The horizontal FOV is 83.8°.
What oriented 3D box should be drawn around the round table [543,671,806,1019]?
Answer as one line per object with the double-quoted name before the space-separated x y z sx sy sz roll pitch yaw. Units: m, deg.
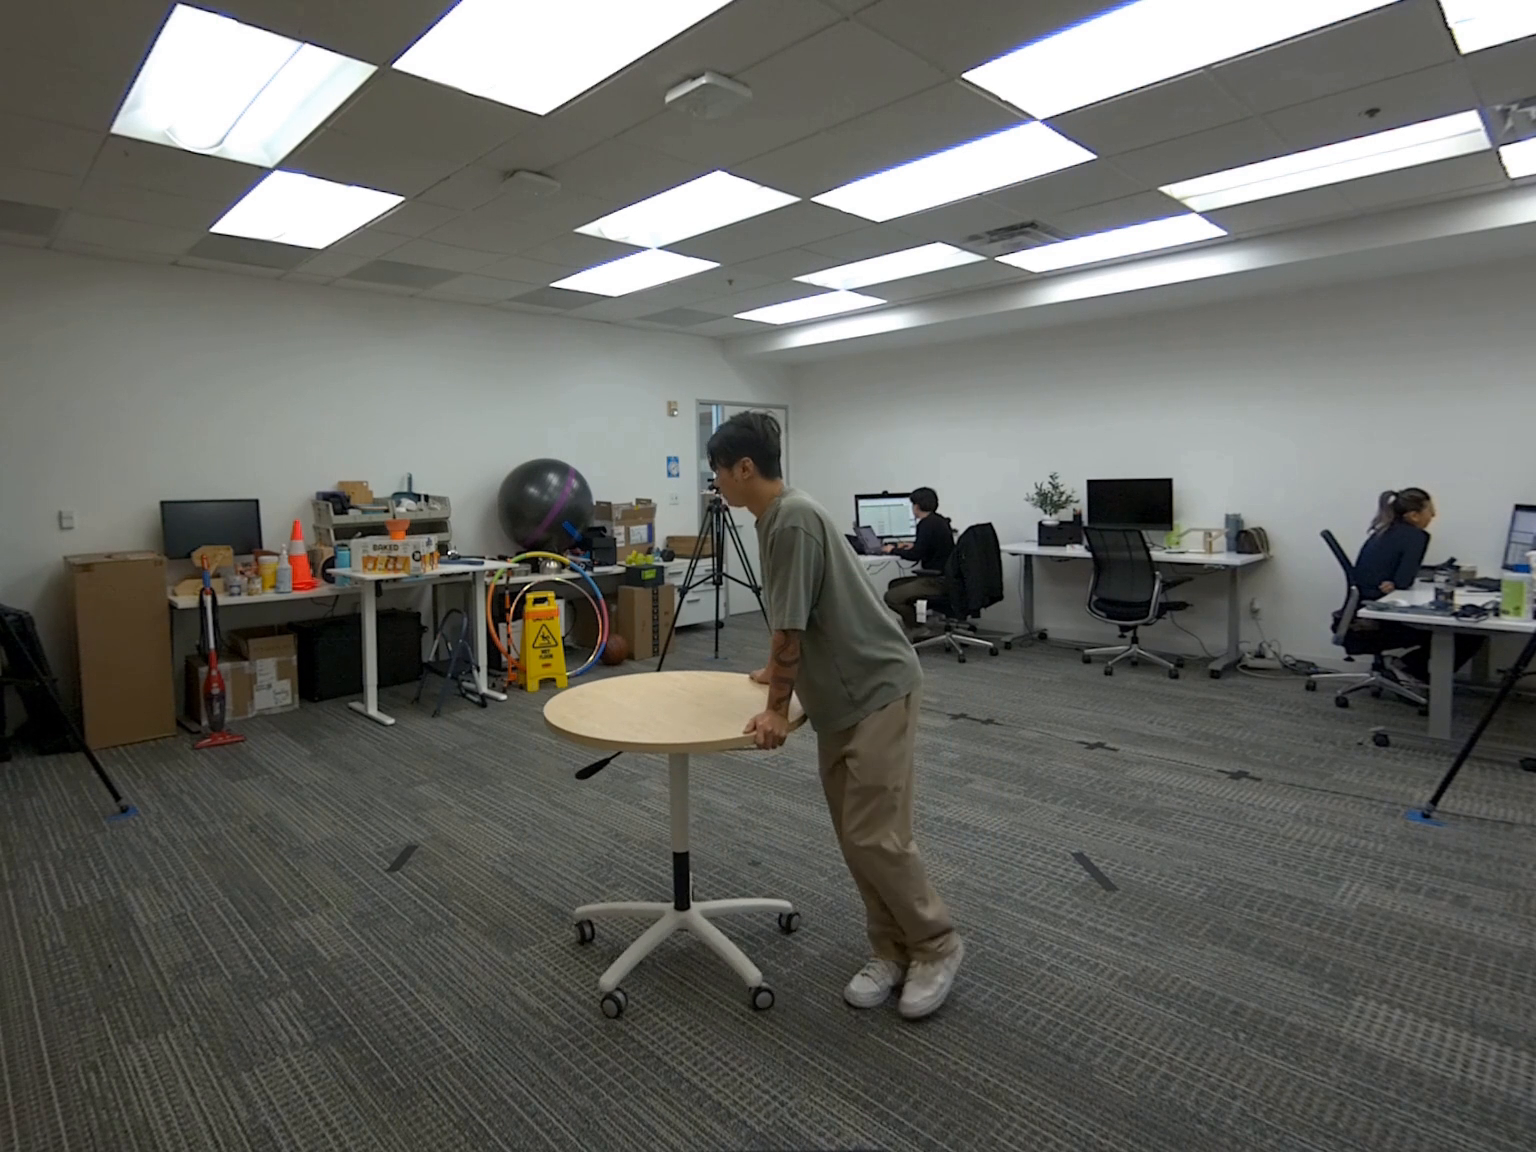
"round table" -0.248 0.738 2.522 0.784 0.782 0.790 -1 6 -2
